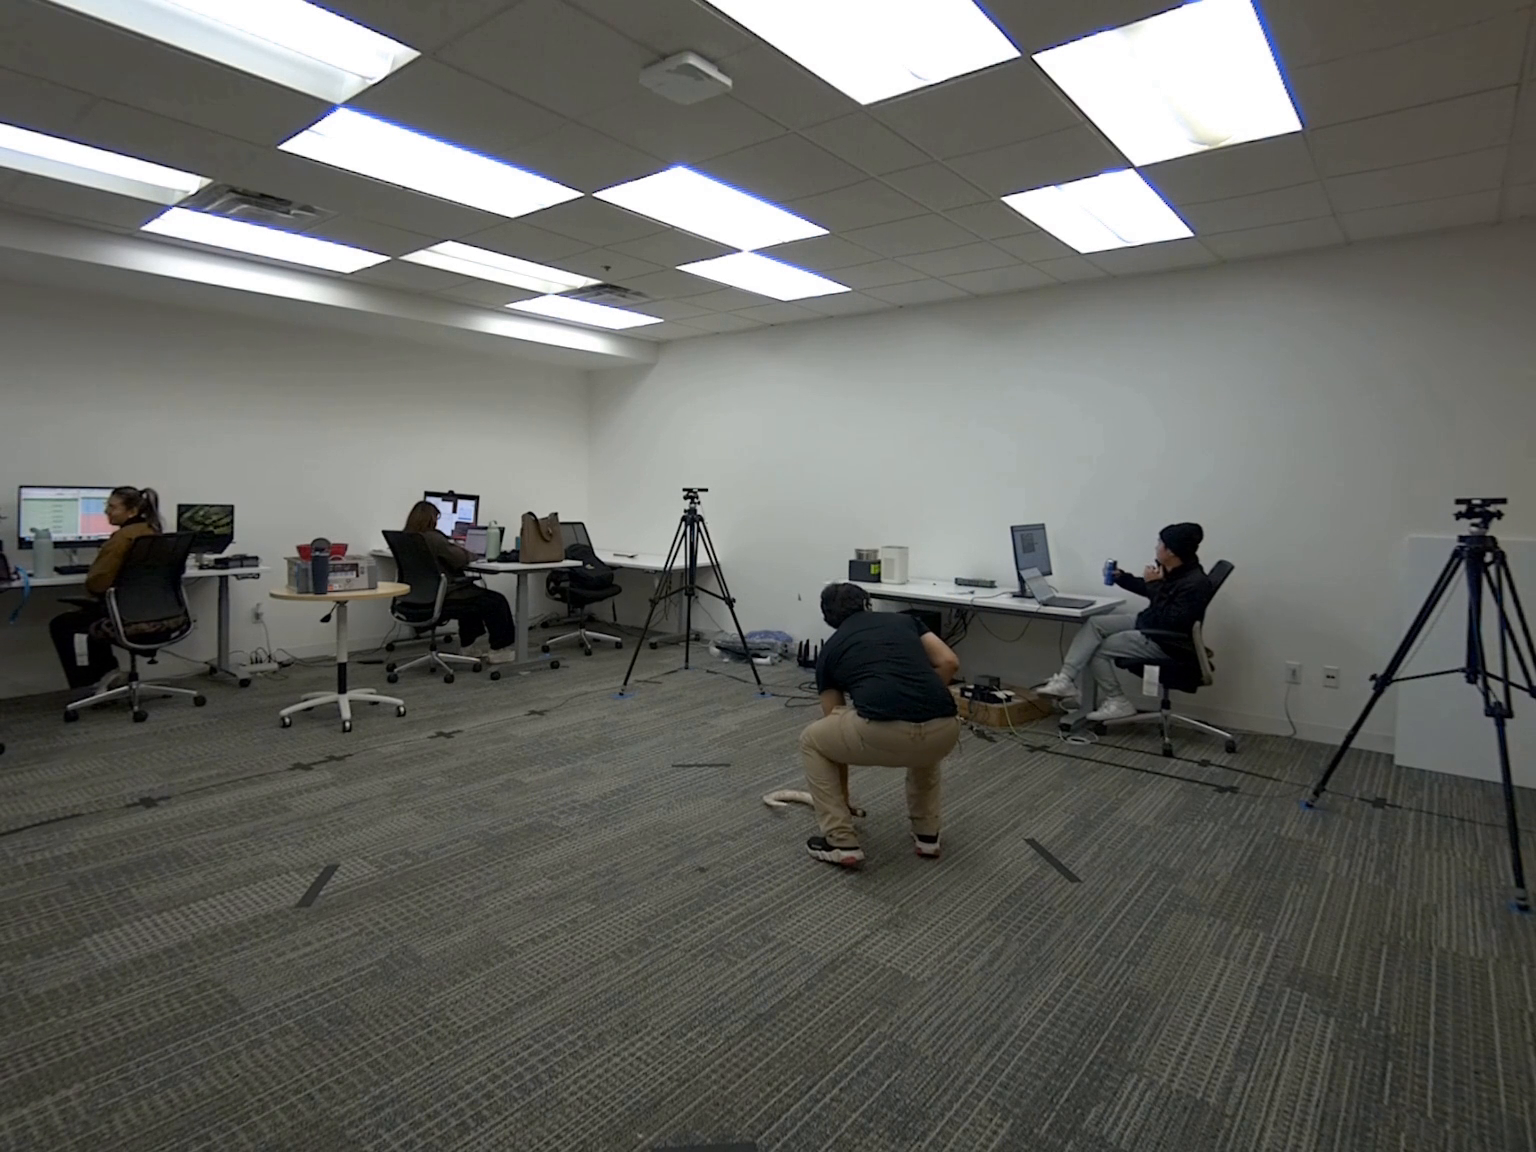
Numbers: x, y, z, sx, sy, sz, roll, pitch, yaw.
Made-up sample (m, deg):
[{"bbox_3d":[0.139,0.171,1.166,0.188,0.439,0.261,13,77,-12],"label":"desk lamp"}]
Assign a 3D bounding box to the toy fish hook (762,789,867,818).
[{"bbox_3d":[0.173,0.979,3.642,0.218,0.048,0.521,-7,3,-43],"label":"toy fish hook"}]
